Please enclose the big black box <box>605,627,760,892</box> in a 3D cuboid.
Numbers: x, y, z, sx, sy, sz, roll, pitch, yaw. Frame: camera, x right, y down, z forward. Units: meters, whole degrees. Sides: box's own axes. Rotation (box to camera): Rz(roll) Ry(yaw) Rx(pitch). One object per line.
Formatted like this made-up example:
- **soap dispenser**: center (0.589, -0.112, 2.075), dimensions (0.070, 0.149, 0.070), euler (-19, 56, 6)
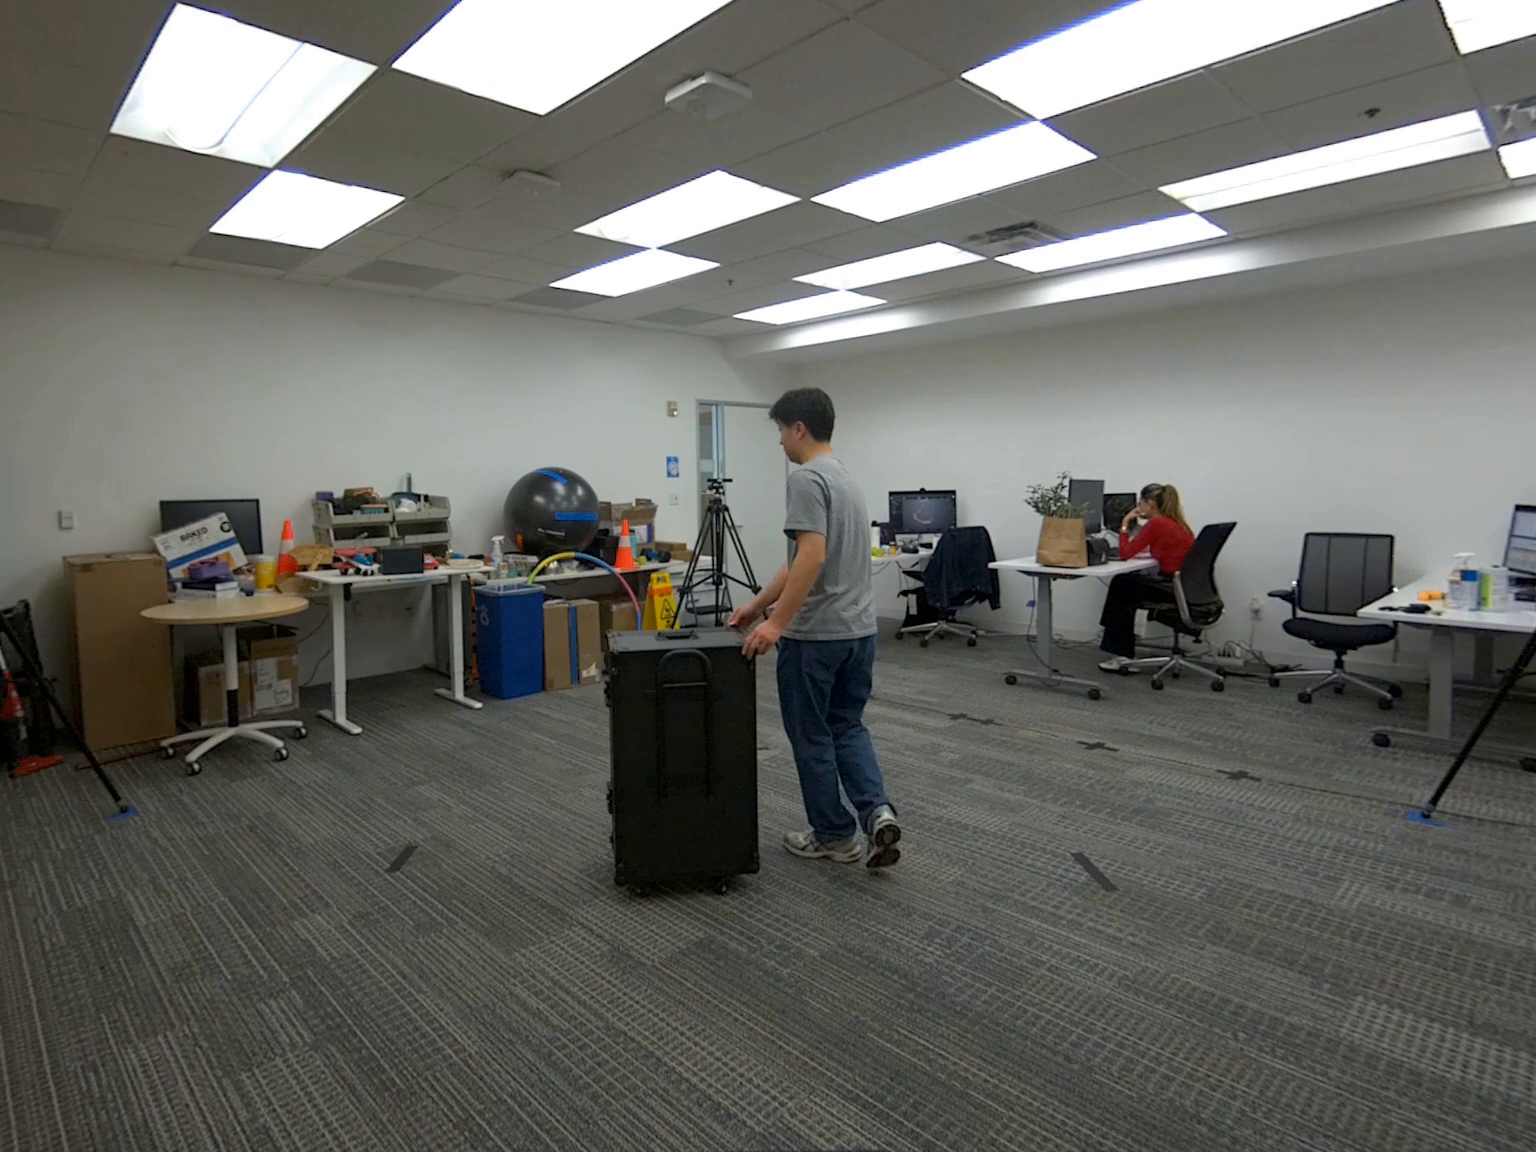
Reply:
- **big black box**: center (-0.295, 0.641, 2.982), dimensions (0.516, 0.858, 0.402), euler (-1, 5, -10)
